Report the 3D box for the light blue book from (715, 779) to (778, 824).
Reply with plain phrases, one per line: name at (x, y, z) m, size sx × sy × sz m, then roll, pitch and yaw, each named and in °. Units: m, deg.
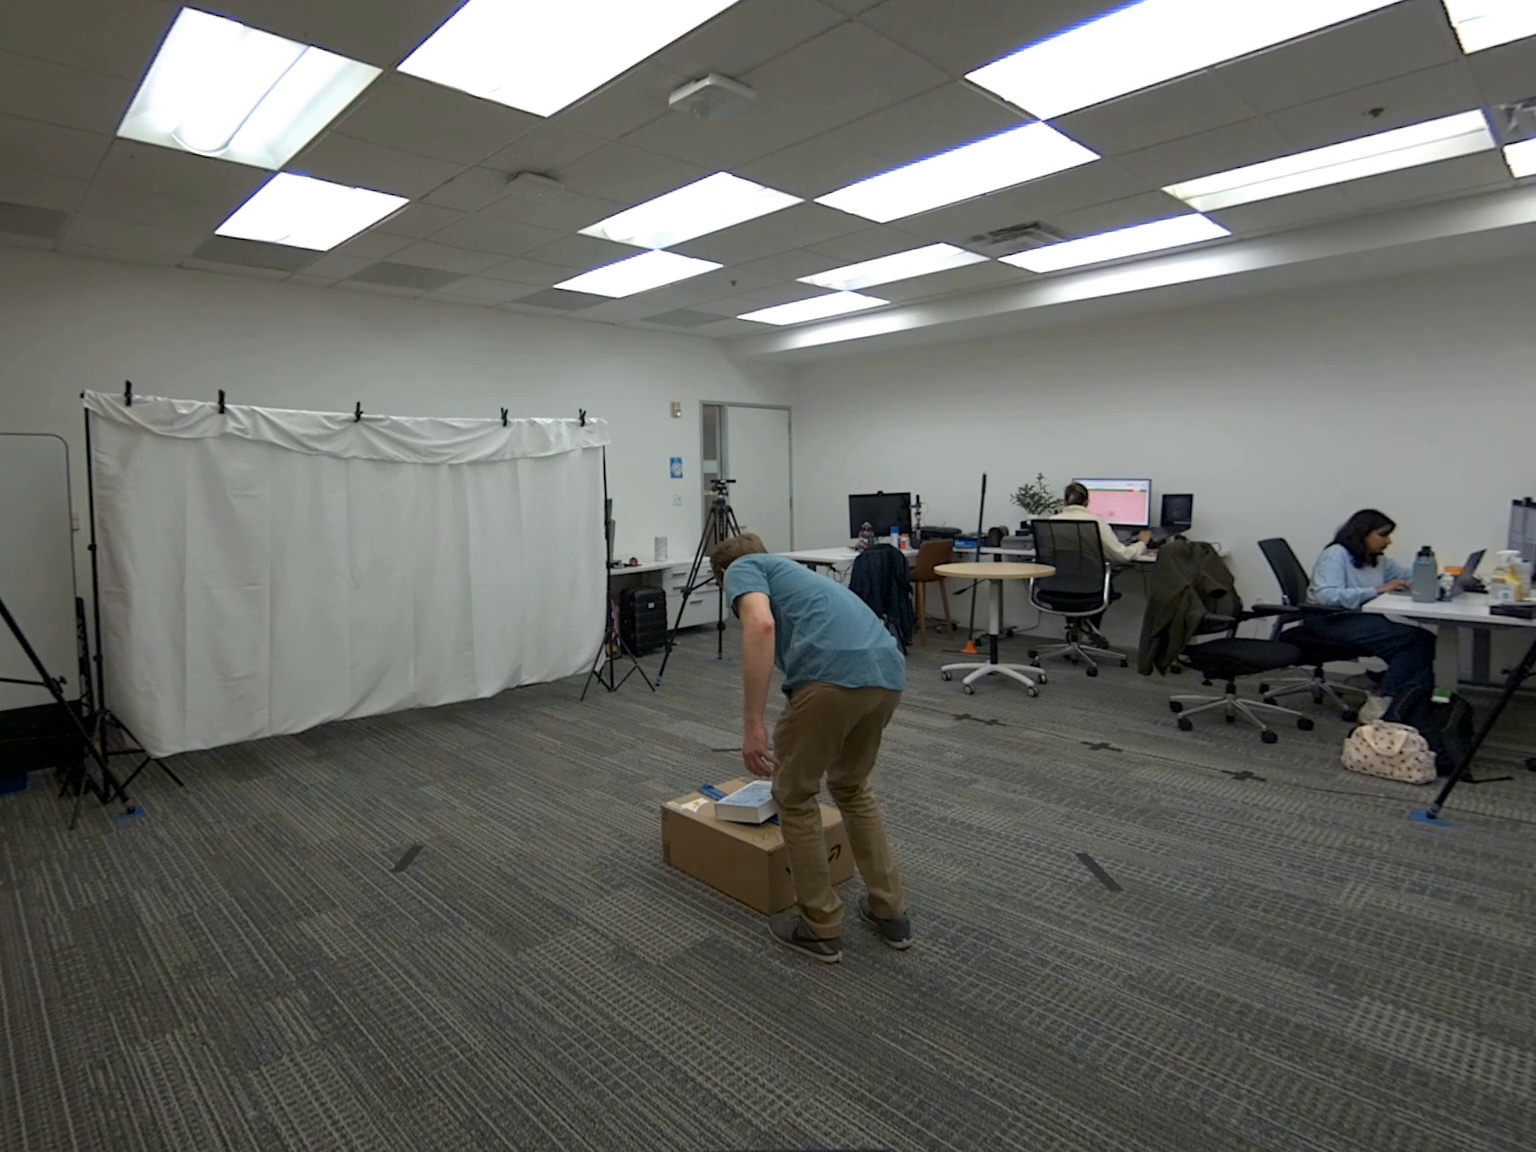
light blue book at (-0.033, 0.798, 3.058) m, size 0.196 × 0.059 × 0.255 m, roll -5°, pitch 3°, yaw 34°
